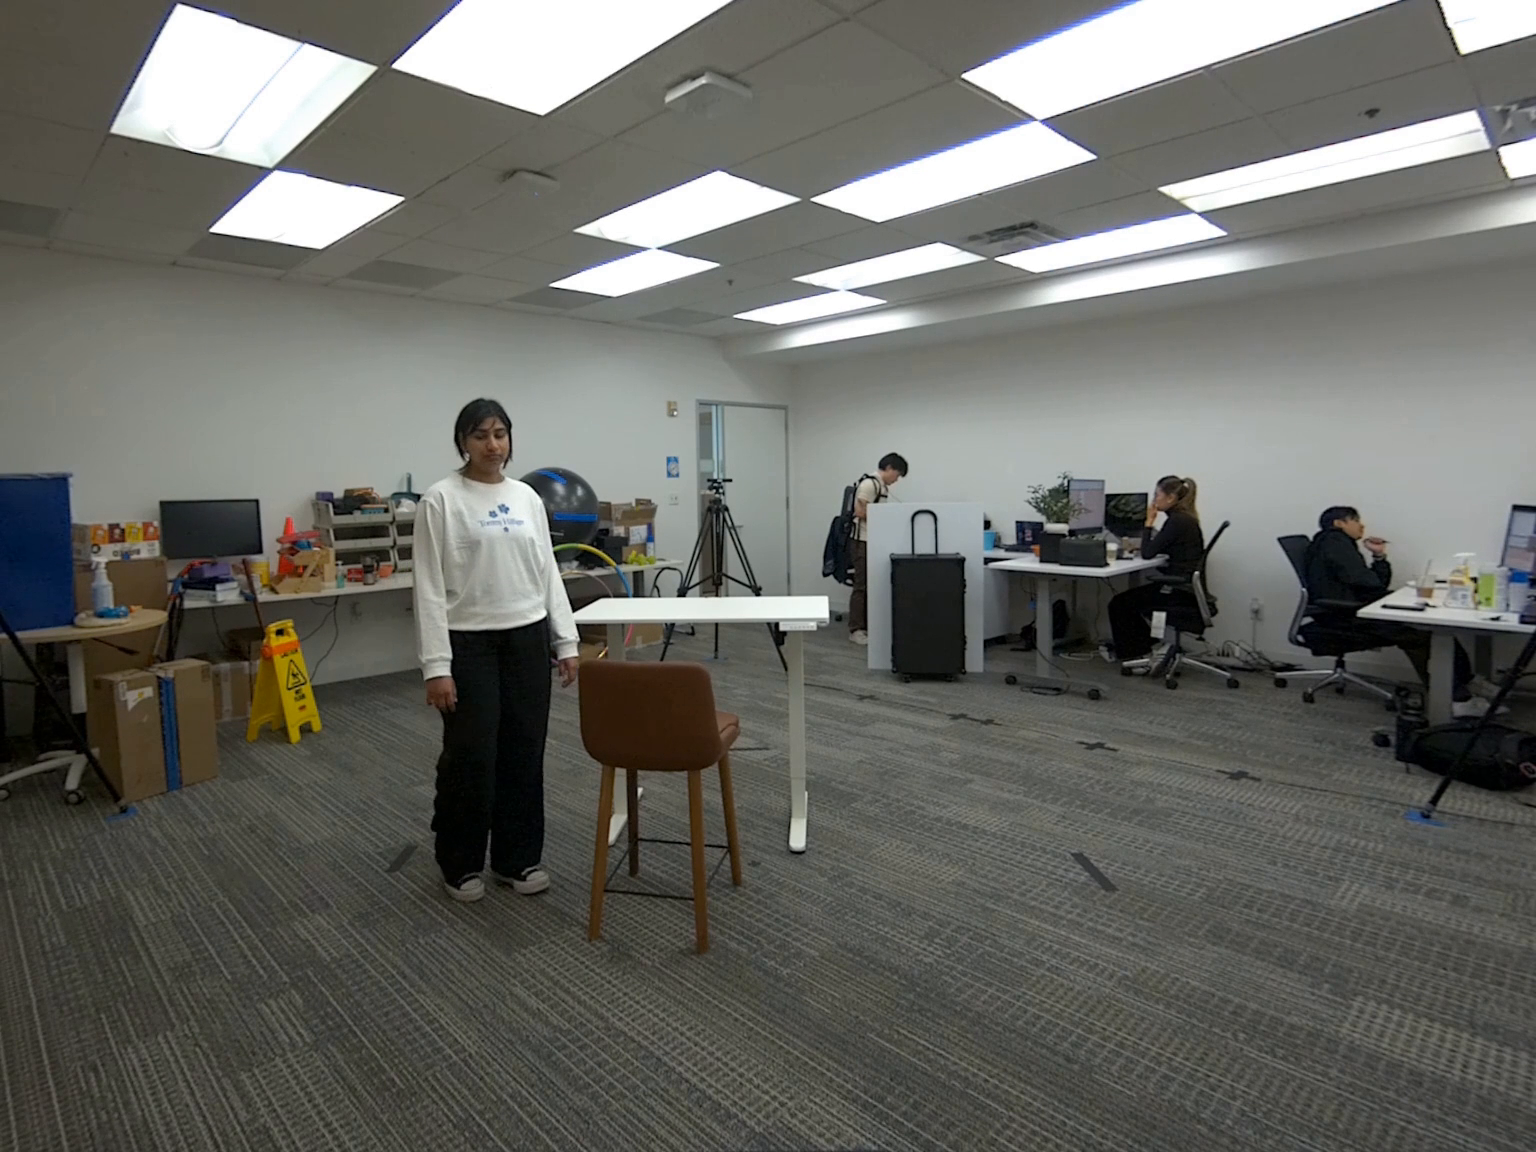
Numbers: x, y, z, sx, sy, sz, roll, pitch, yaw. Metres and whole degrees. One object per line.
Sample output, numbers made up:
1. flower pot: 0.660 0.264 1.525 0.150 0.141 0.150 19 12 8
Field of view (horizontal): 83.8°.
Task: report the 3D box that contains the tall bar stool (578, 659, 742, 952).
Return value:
1. tall bar stool: -0.335 0.656 2.750 0.463 0.885 0.464 0 6 13
